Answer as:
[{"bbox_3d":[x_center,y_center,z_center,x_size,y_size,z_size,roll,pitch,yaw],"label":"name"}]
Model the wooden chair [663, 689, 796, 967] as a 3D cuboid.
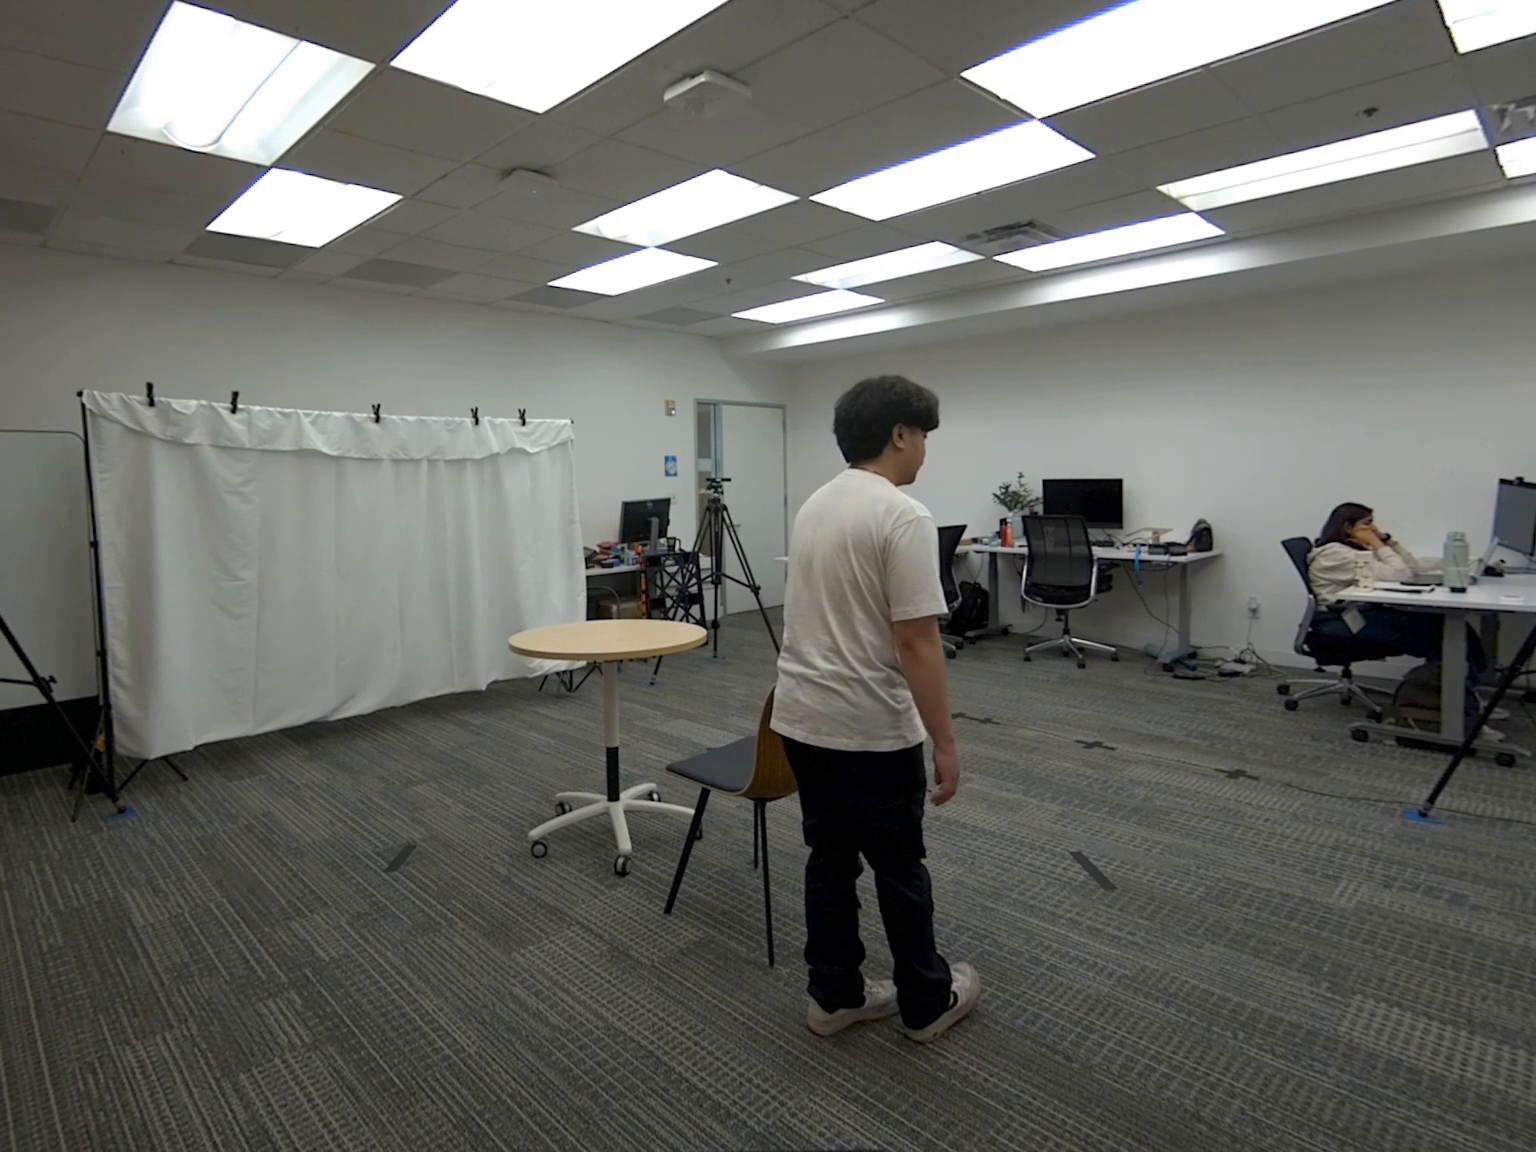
[{"bbox_3d":[-0.028,0.655,2.730,0.540,0.872,0.466,9,10,42],"label":"wooden chair"}]
